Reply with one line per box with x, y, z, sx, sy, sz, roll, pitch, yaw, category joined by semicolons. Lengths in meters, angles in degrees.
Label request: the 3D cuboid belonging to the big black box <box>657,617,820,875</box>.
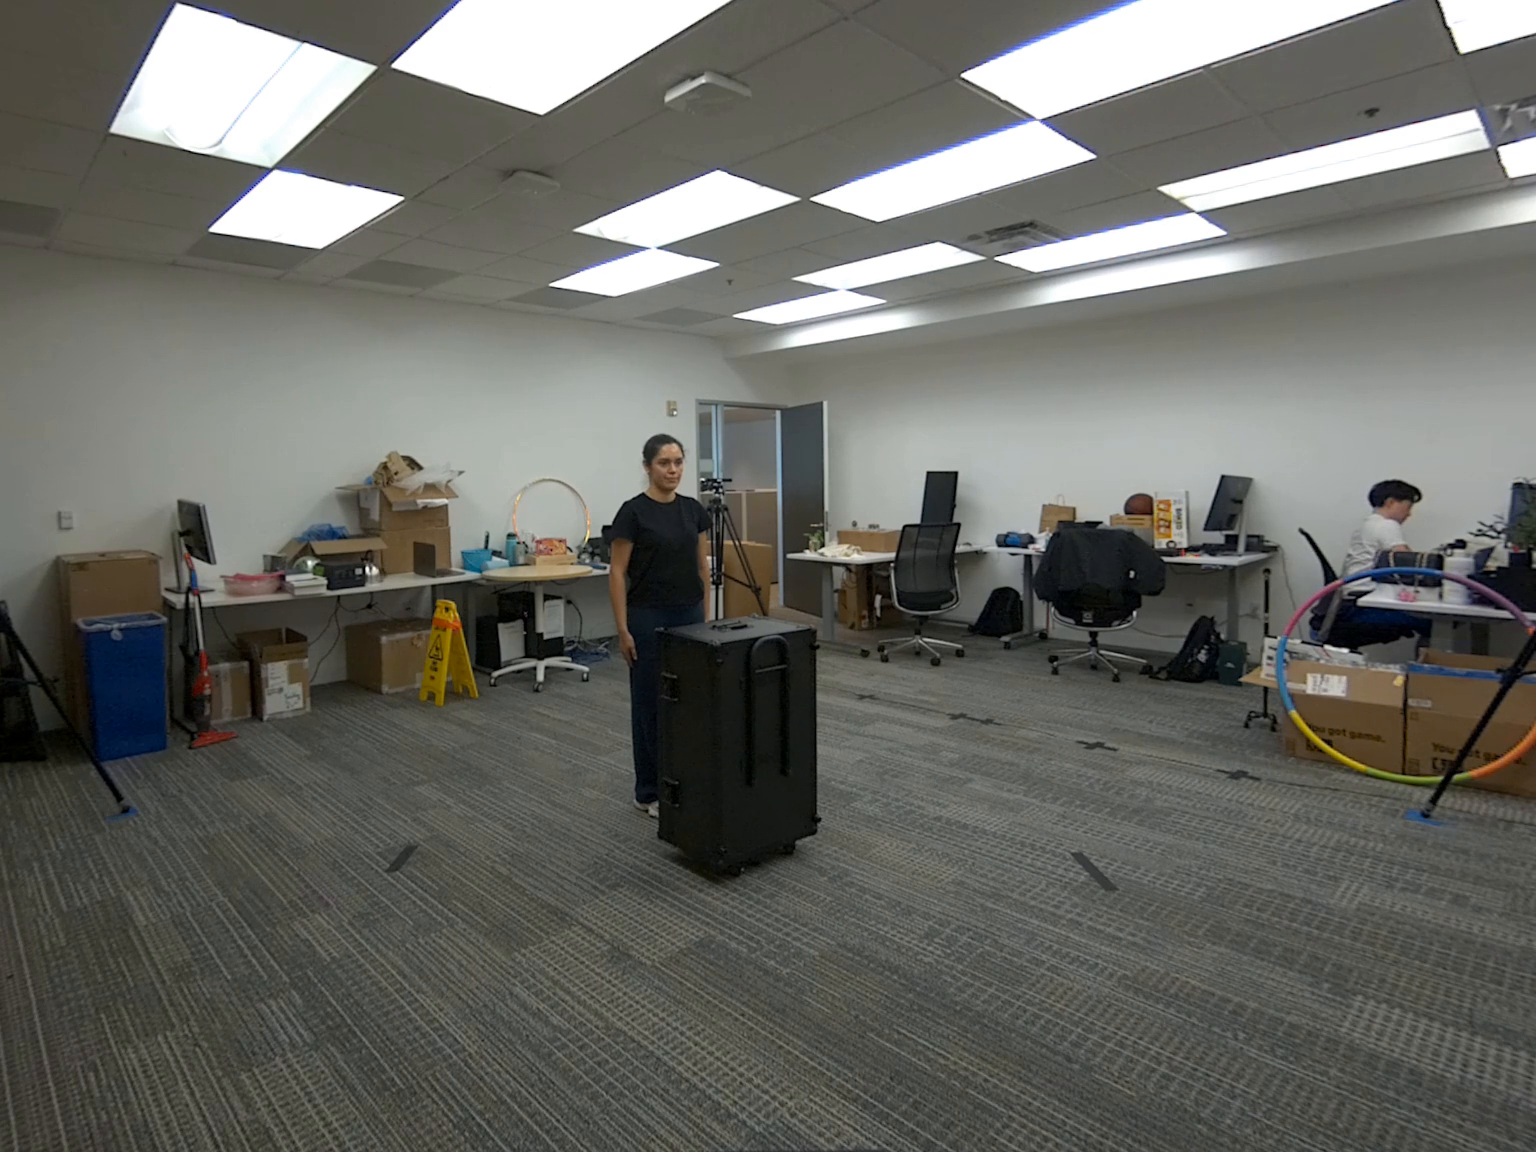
-0.106;0.615;3.166;0.507;0.858;0.408;-4;6;-40;big black box
